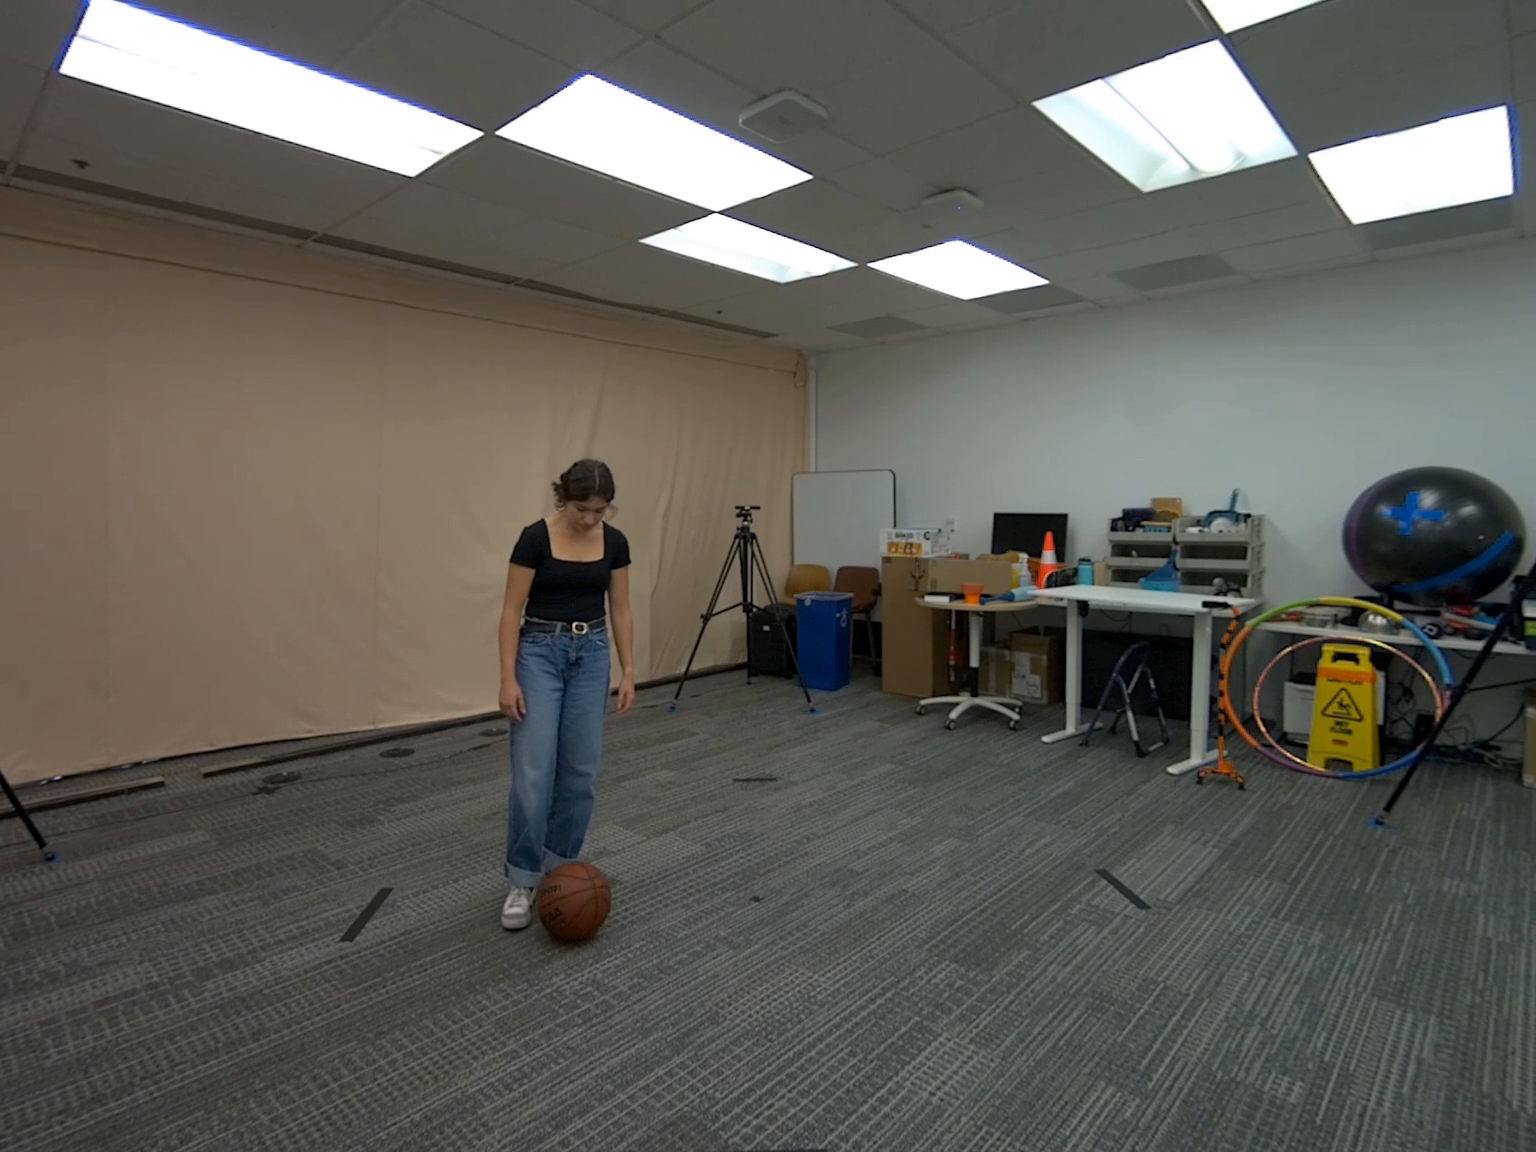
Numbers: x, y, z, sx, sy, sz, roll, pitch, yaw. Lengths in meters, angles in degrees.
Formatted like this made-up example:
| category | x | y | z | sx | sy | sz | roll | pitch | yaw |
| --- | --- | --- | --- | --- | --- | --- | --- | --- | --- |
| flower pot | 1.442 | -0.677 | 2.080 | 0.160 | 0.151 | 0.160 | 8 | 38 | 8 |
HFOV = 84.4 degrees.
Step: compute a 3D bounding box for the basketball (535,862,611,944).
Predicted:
| category | x | y | z | sx | sy | sz | roll | pitch | yaw |
| --- | --- | --- | --- | --- | --- | --- | --- | --- | --- |
| basketball | -0.627 | 1.049 | 2.723 | 0.236 | 0.235 | 0.237 | 0 | 4 | -2 |
